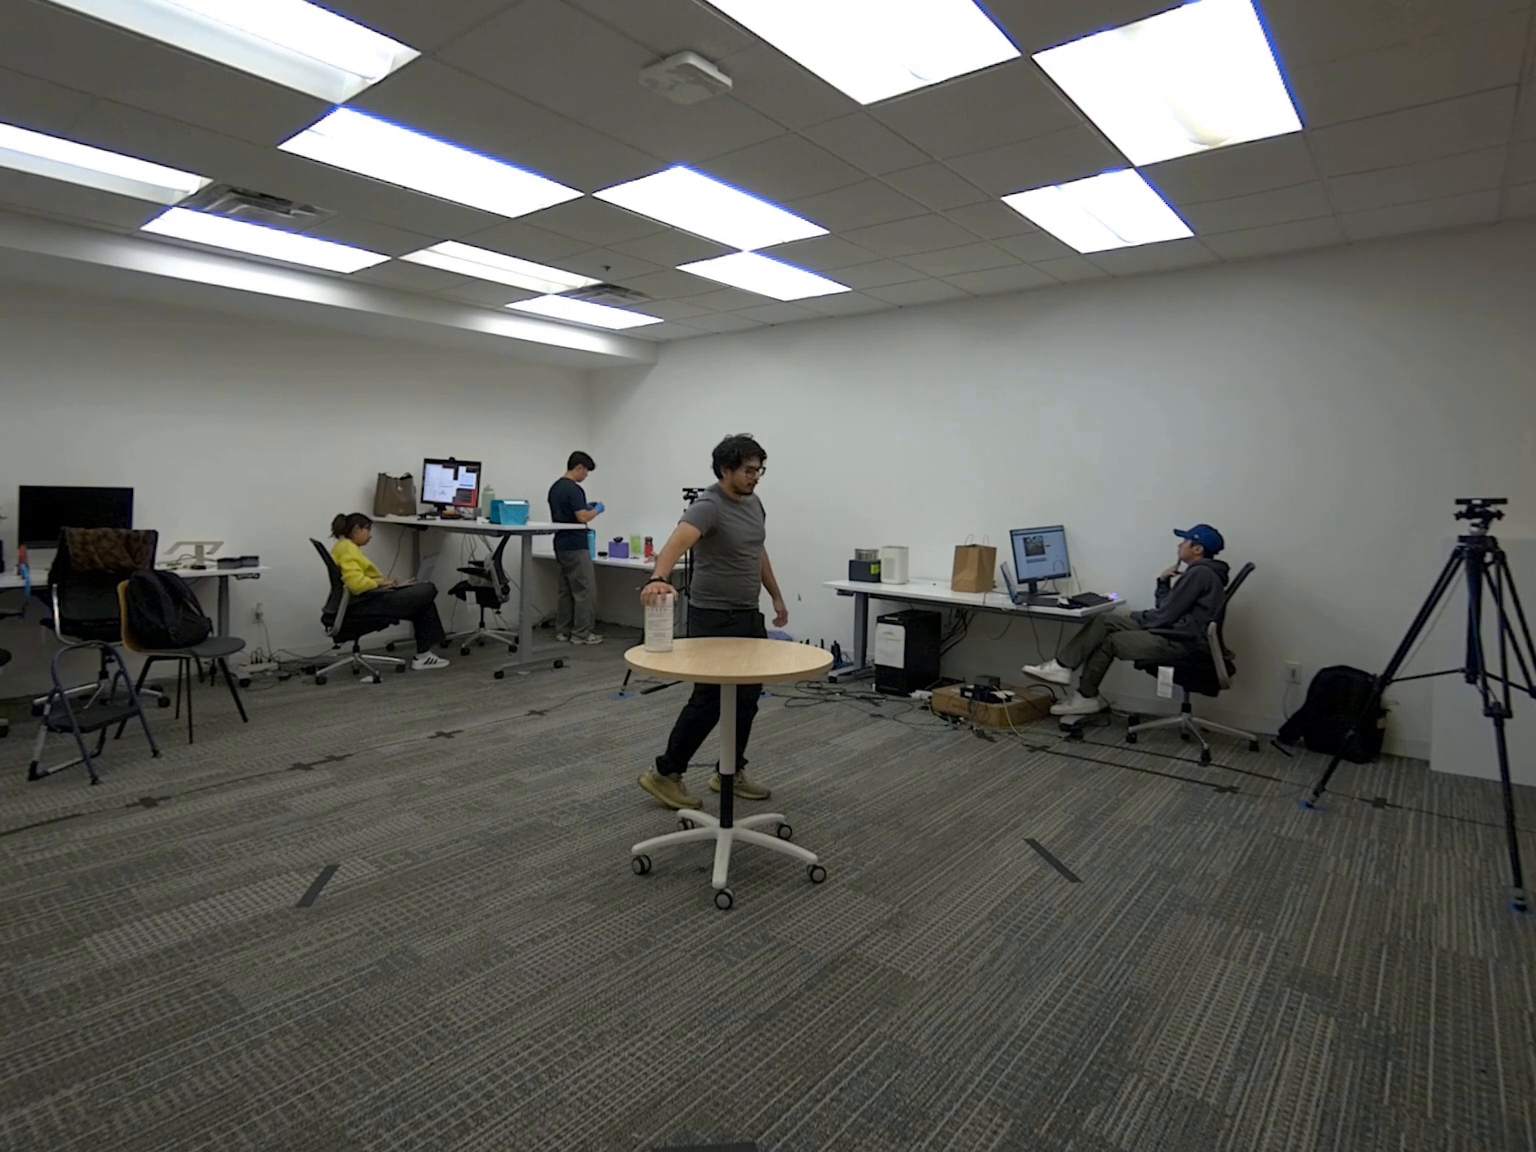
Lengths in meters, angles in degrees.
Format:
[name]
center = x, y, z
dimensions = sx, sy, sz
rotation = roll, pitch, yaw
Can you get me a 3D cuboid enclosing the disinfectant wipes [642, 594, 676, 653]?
[disinfectant wipes]
center = -0.421, 0.172, 3.206
dimensions = 0.118, 0.217, 0.118
rotation = 0, 1, -2
